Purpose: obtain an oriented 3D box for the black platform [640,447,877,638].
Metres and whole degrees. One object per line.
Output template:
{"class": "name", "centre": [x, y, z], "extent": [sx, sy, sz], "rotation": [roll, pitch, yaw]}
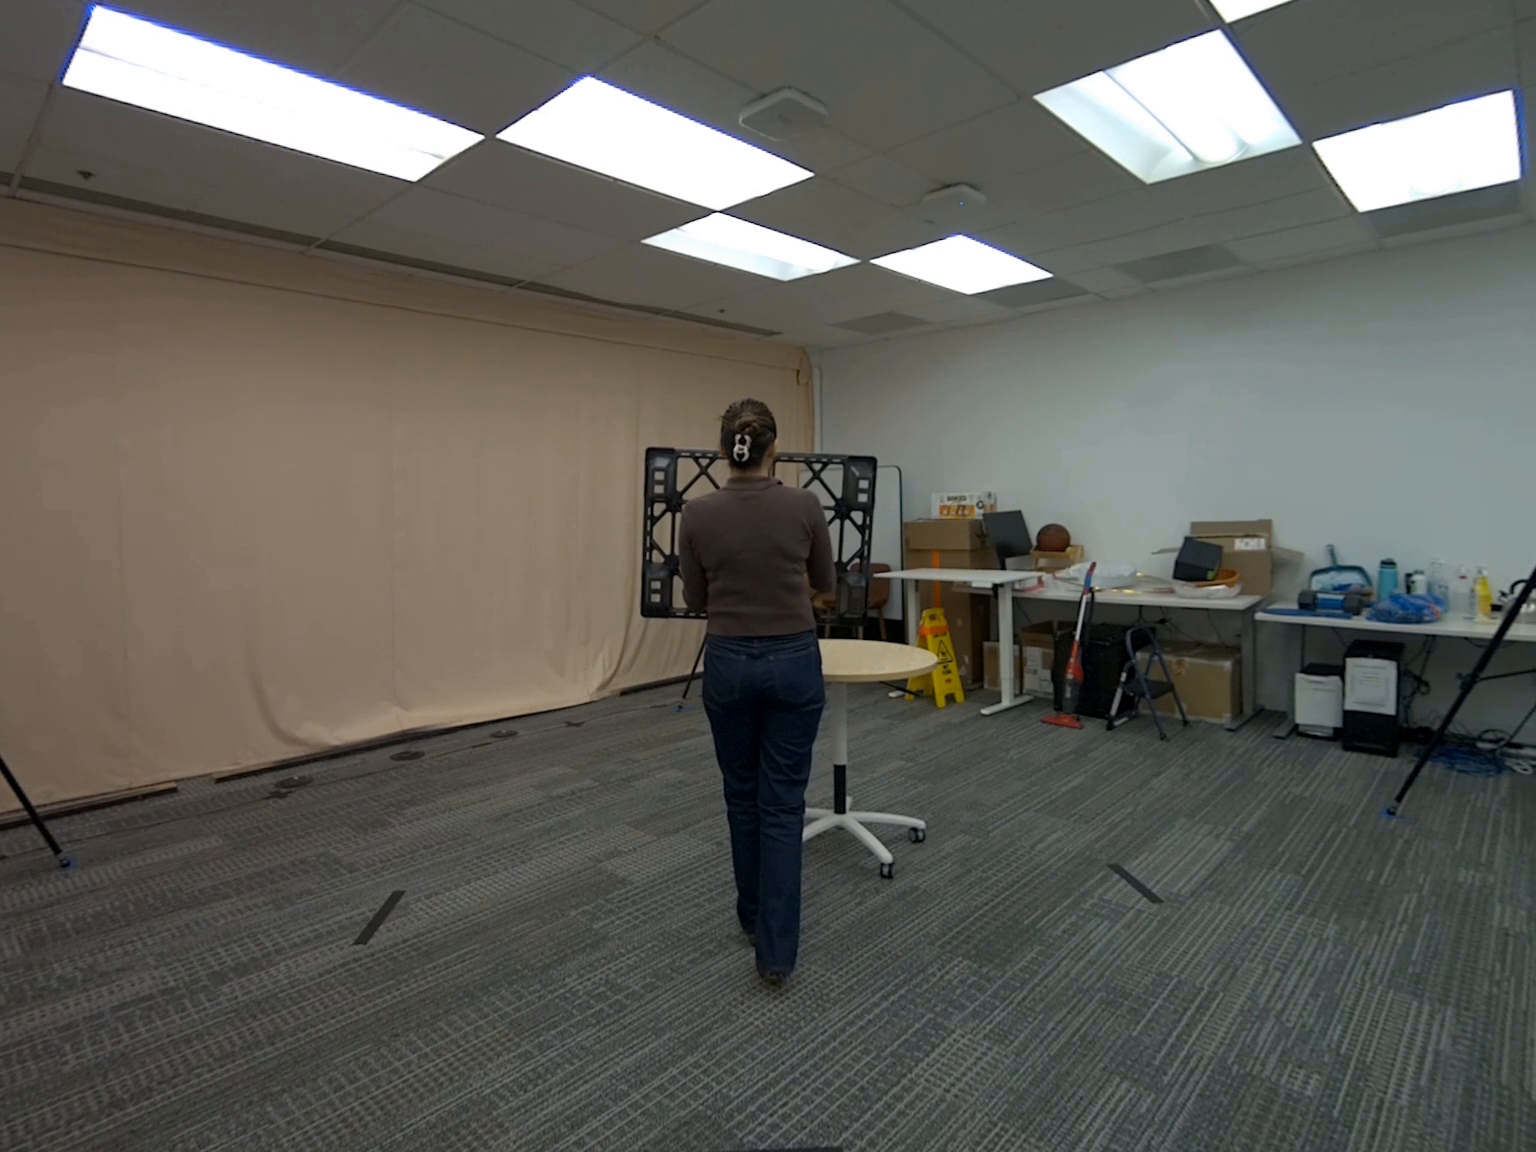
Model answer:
{"class": "black platform", "centre": [-0.036, -0.126, 2.885], "extent": [0.805, 0.602, 0.144], "rotation": [2, 7, 0]}
